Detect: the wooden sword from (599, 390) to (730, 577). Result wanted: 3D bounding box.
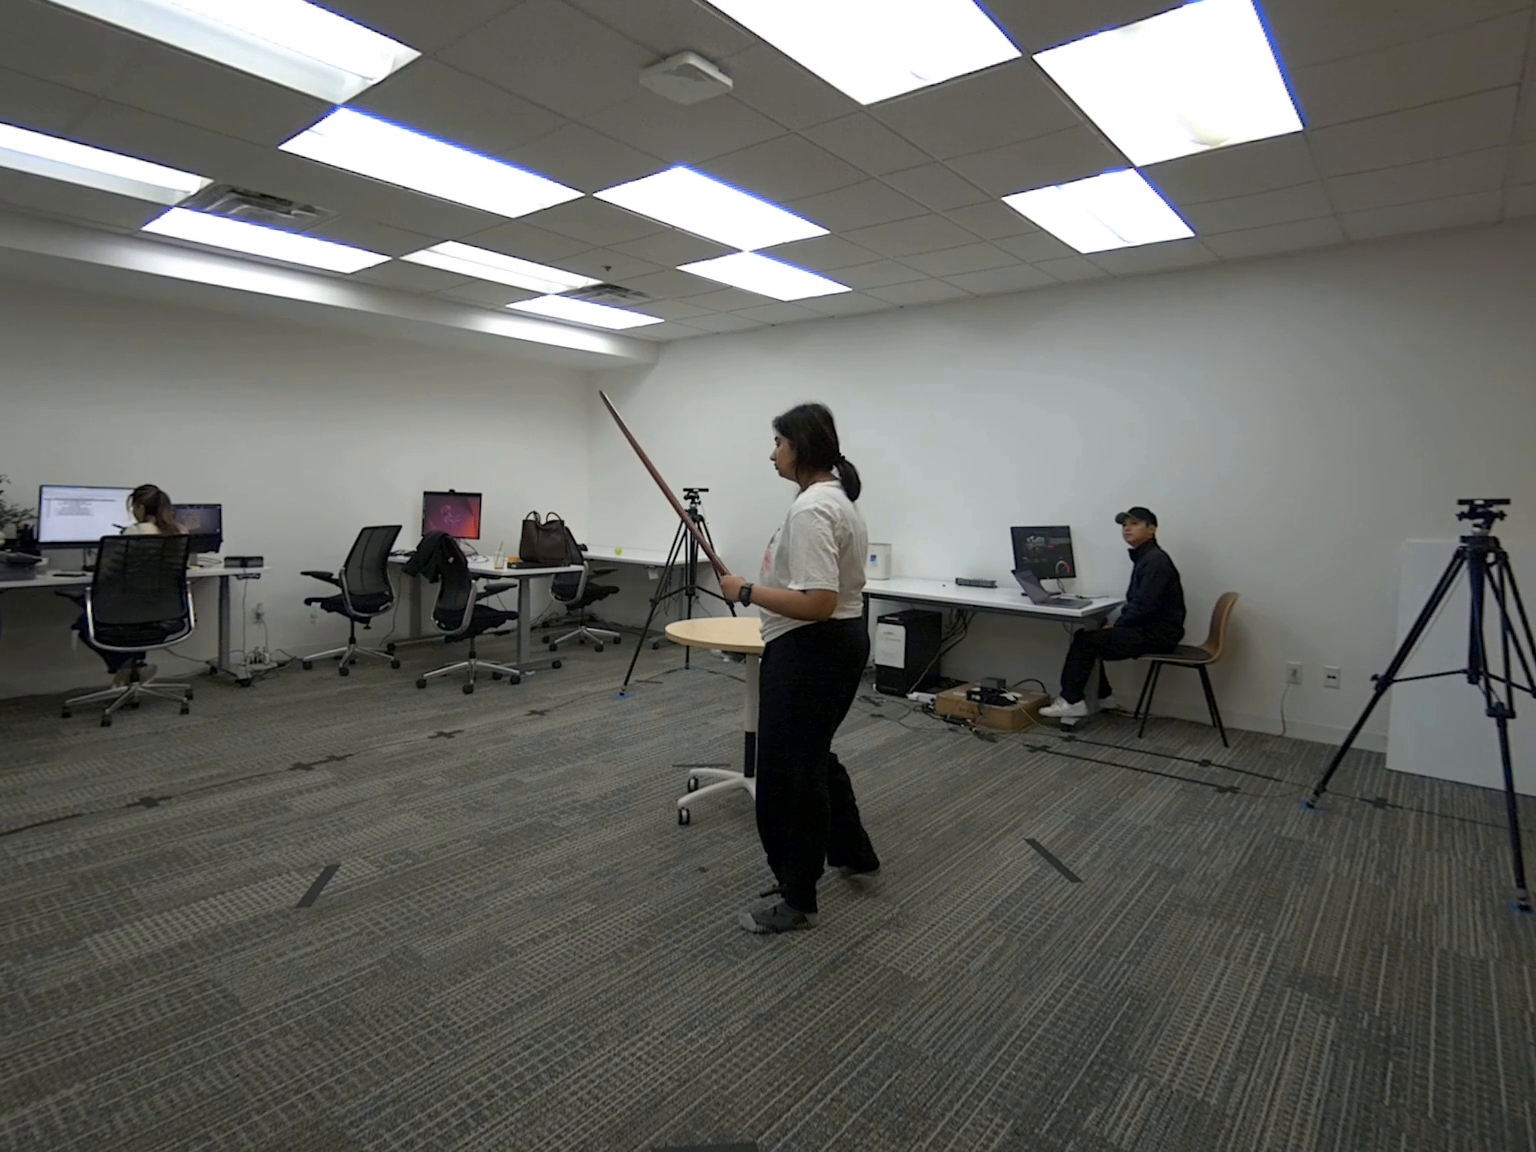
[{"bbox_3d":[-0.345,-0.294,2.874,0.050,1.060,0.024,-3,-40,-46],"label":"wooden sword"}]
